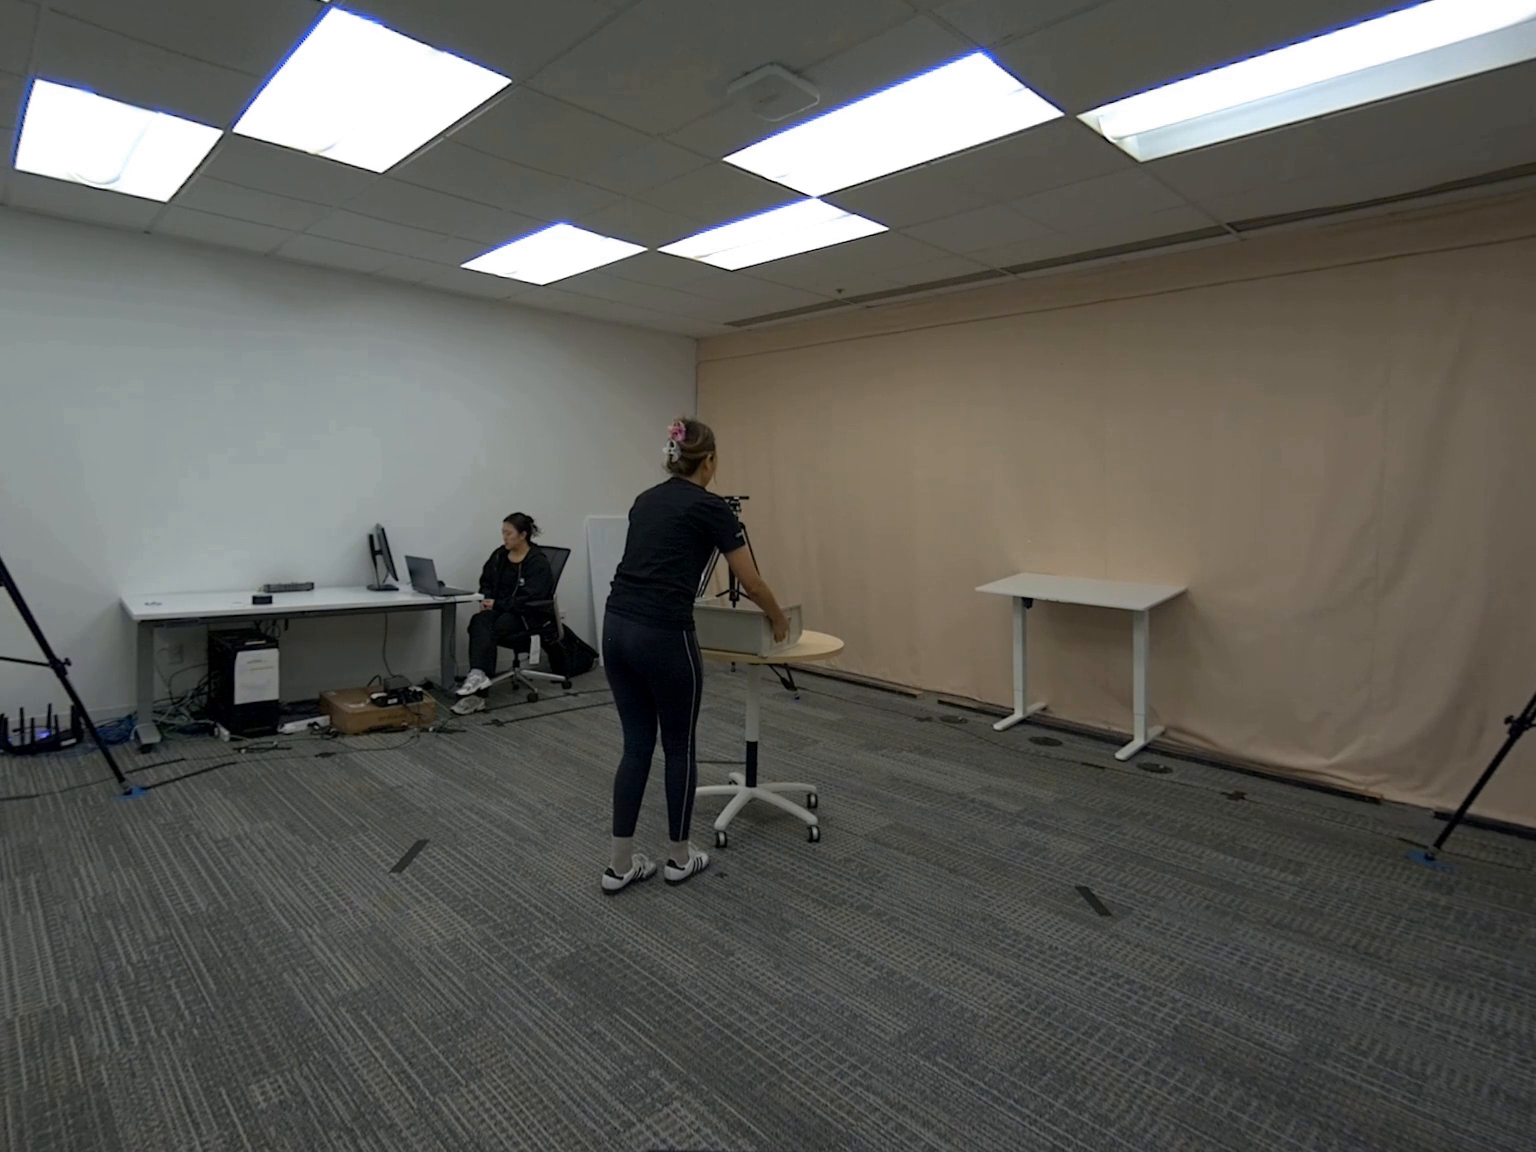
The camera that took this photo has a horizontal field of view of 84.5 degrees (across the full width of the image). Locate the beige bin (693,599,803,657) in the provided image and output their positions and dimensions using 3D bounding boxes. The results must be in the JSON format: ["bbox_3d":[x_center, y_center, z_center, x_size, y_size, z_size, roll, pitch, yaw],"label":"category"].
[{"bbox_3d":[-0.118,0.201,3.500,0.431,0.188,0.371,5,8,28],"label":"beige bin"}]
